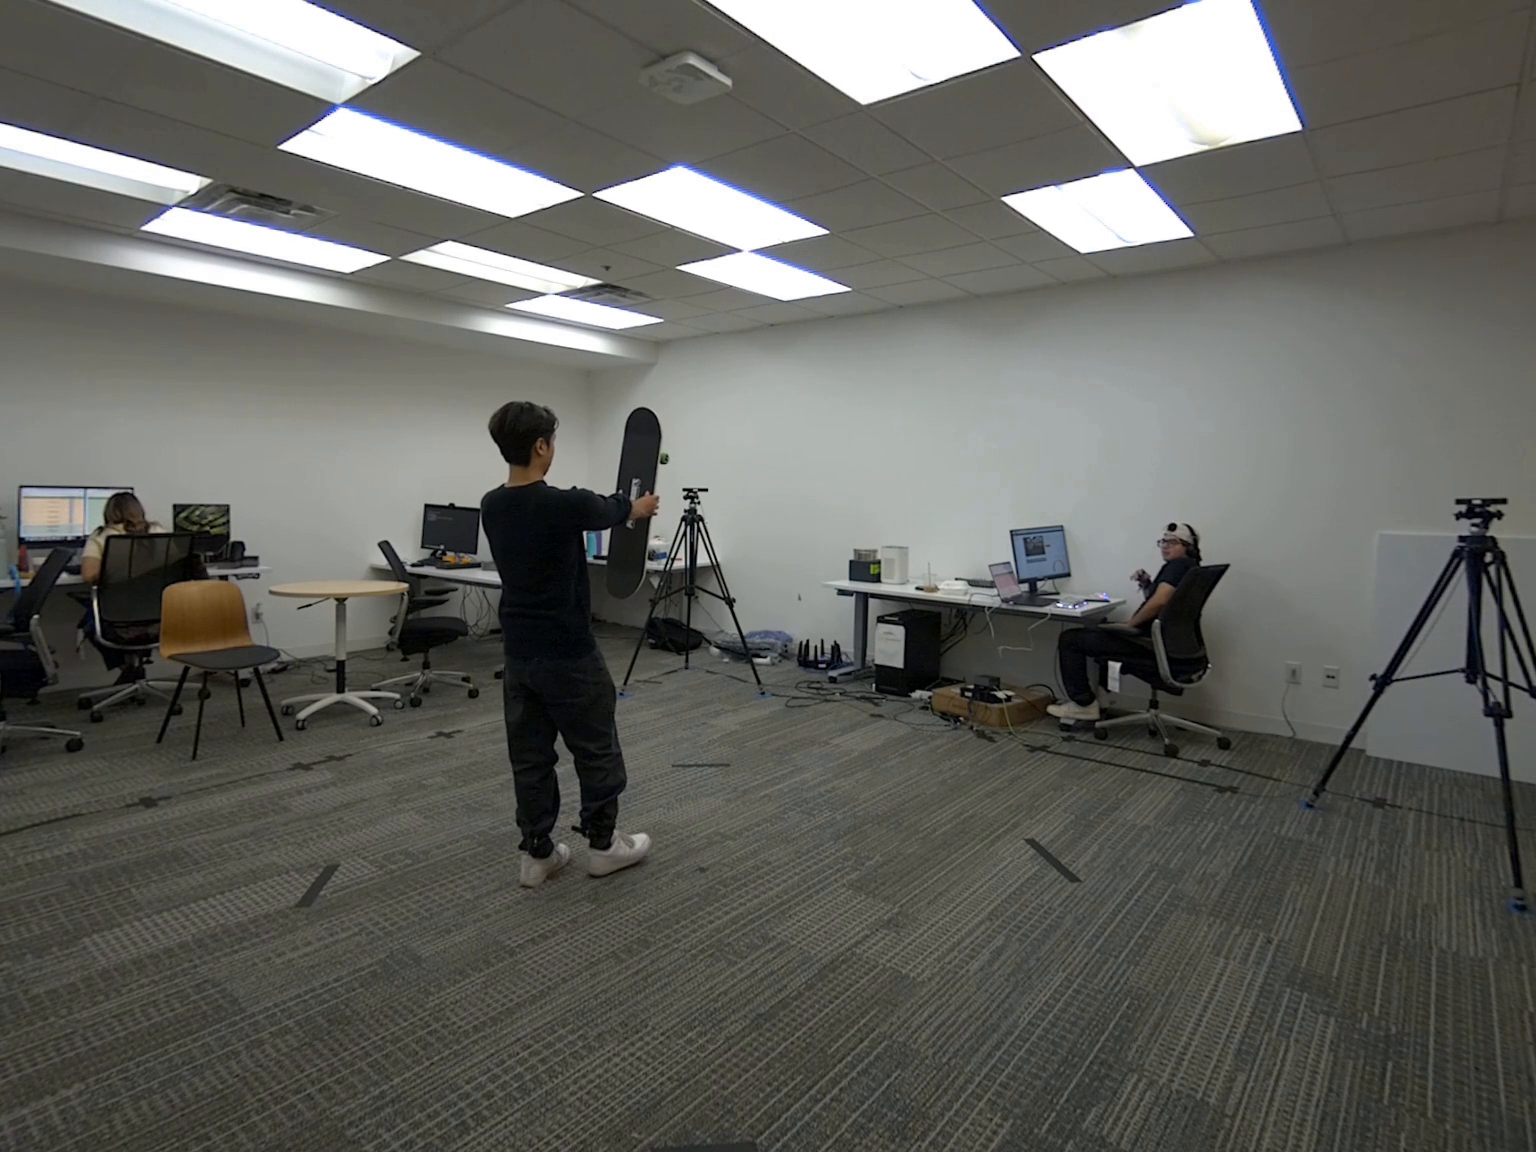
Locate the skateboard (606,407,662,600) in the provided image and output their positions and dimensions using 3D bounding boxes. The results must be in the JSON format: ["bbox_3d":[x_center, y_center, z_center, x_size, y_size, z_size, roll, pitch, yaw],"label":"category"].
[{"bbox_3d":[-0.549,-0.297,3.510,0.199,0.786,0.107,7,-2,29],"label":"skateboard"}]
